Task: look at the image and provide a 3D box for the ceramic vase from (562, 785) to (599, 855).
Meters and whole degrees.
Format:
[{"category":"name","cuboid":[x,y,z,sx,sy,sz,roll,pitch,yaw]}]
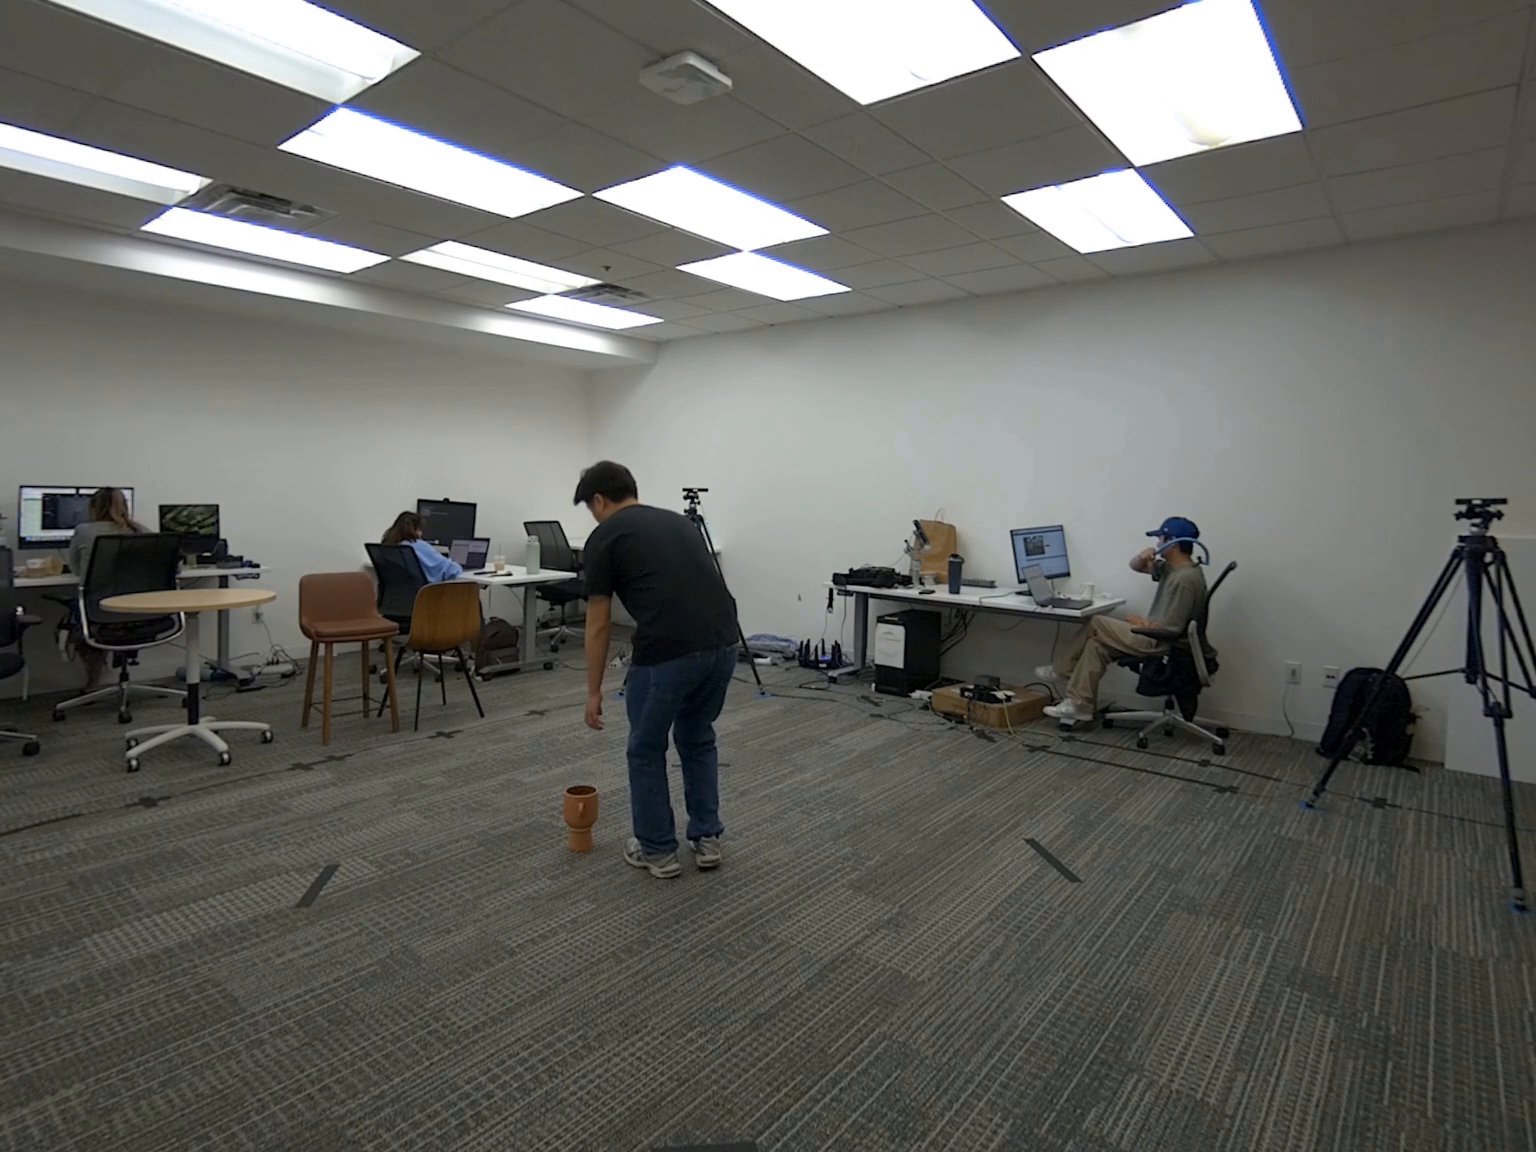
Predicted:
[{"category":"ceramic vase","cuboid":[-0.736,0.933,3.283,0.138,0.219,0.155,3,4,29]}]
